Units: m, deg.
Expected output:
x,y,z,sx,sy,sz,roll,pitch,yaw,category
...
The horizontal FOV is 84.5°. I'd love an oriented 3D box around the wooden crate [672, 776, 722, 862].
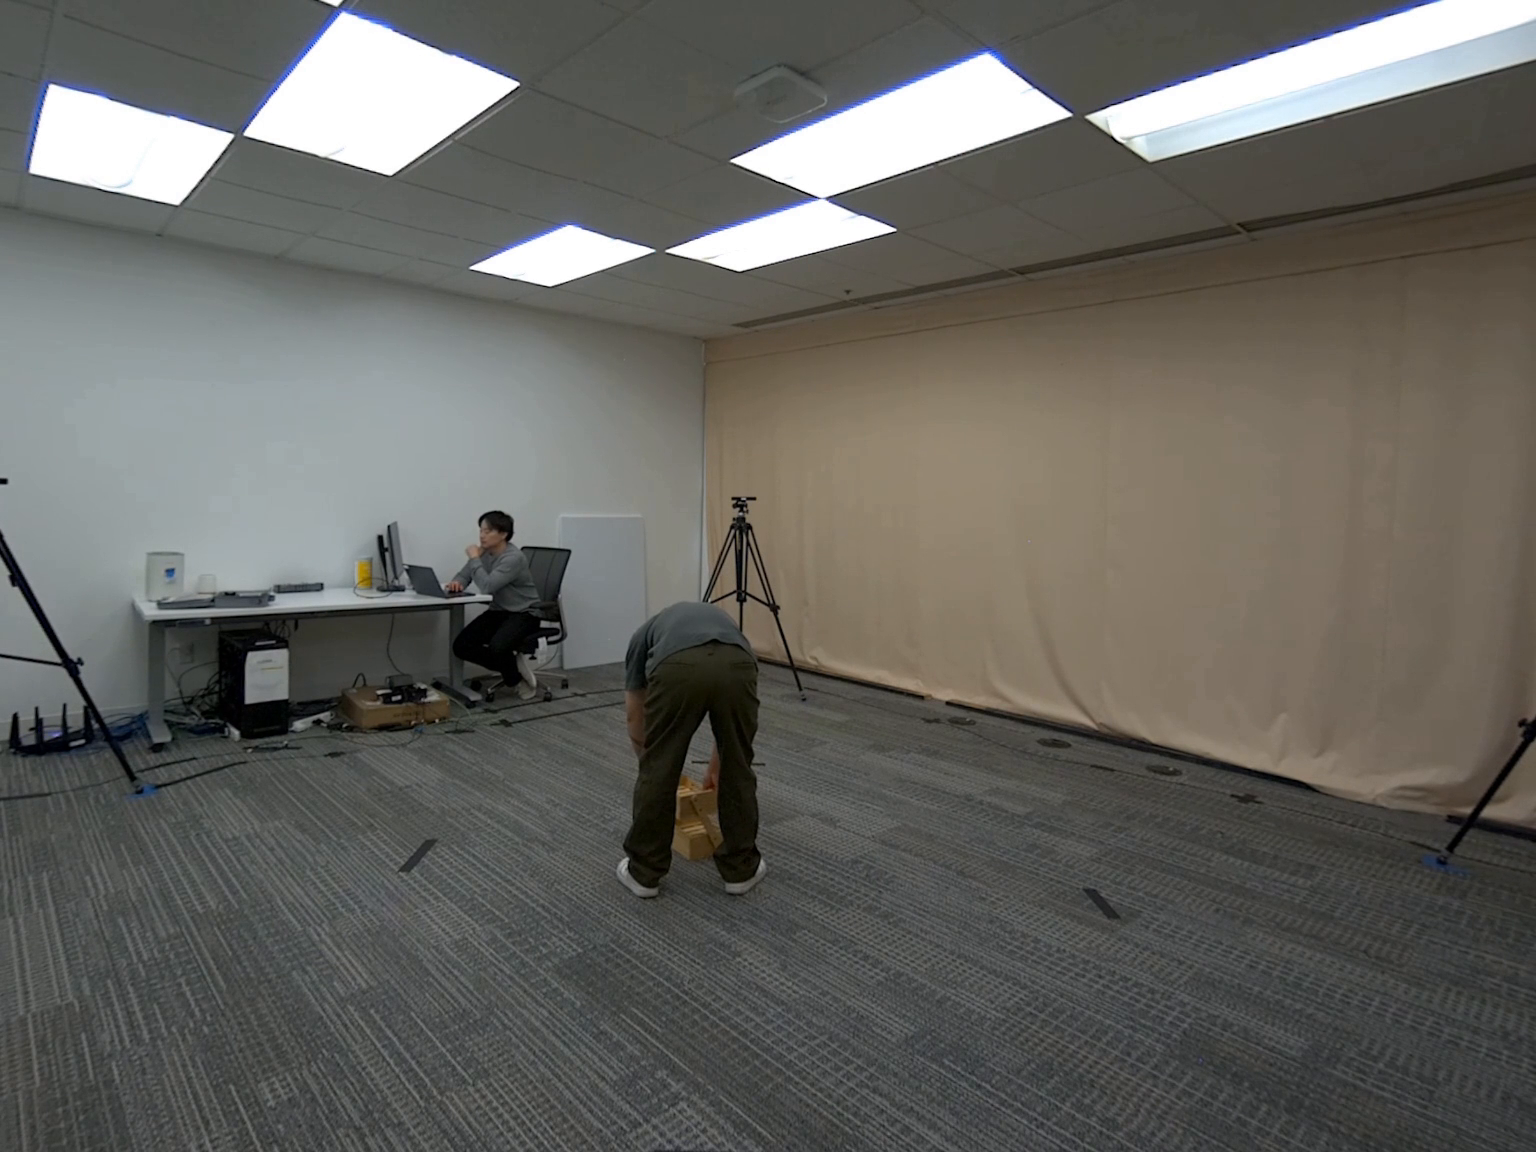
x,y,z,sx,sy,sz,roll,pitch,yaw,category
-0.308,0.942,3.394,0.295,0.272,0.332,-2,6,-36,wooden crate
